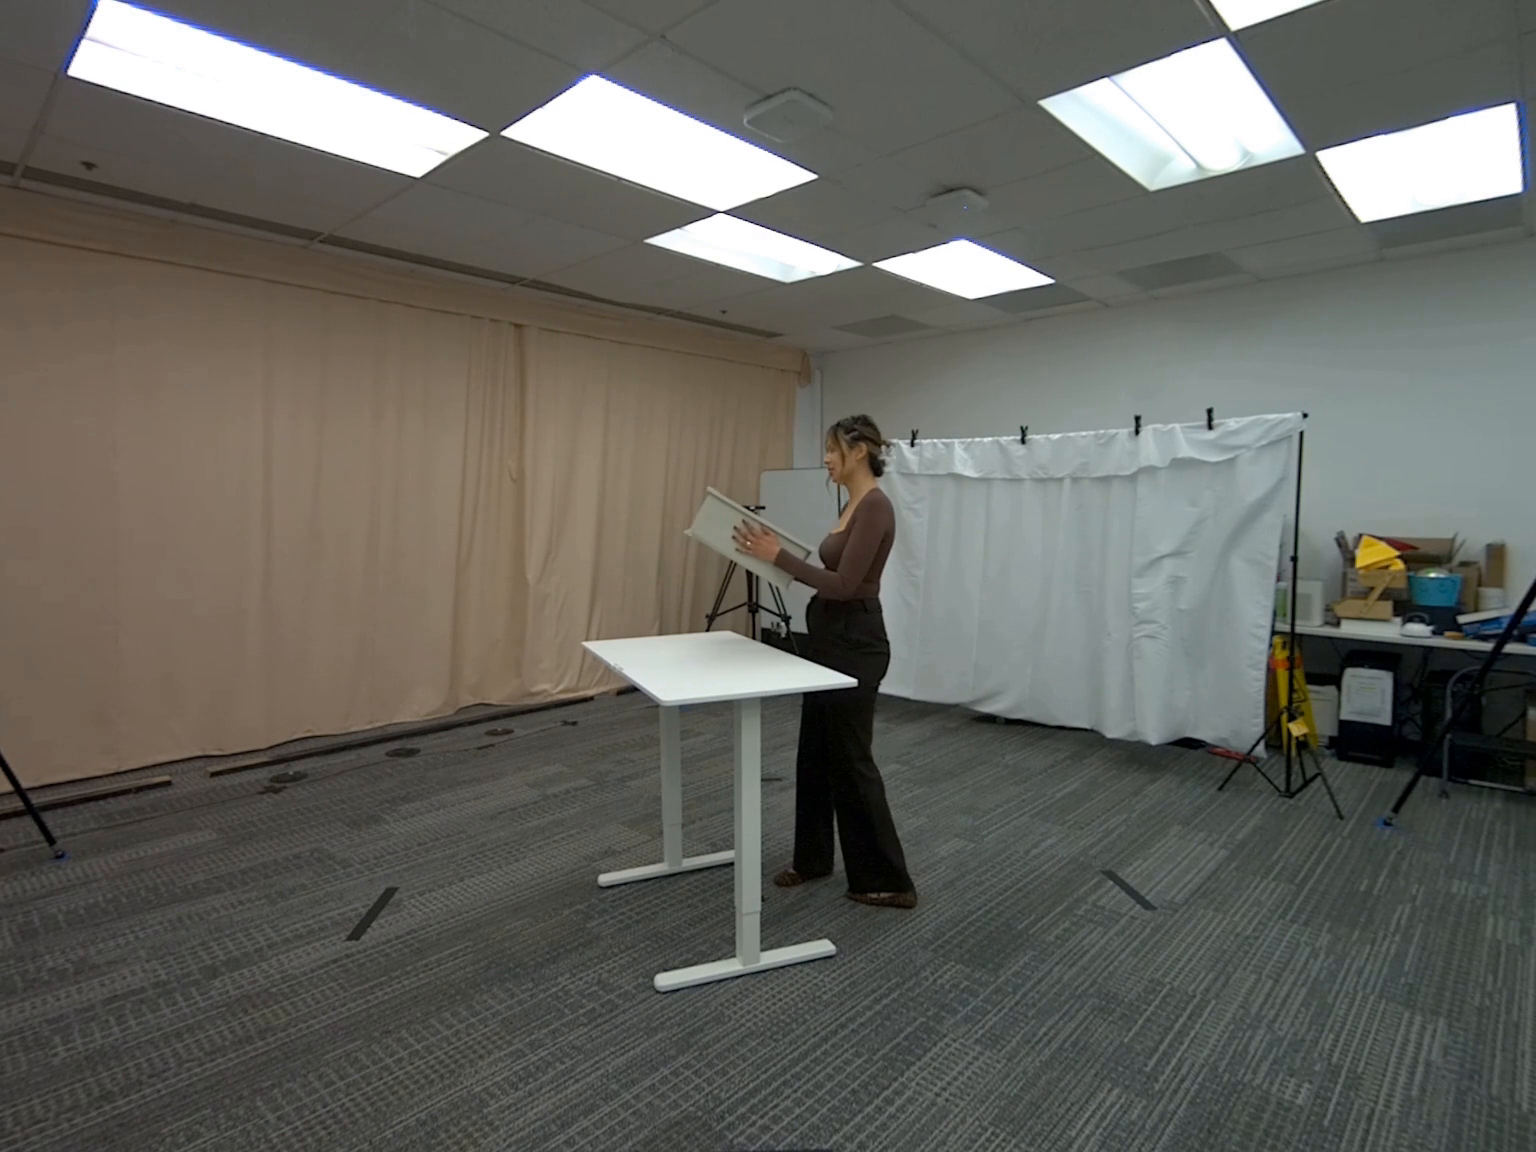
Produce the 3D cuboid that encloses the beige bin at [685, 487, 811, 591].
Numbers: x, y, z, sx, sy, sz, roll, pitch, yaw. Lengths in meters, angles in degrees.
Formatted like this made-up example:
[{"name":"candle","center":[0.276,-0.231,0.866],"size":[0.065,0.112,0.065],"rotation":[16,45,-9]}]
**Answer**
[{"name":"beige bin","center":[-0.054,-0.136,3.043],"size":[0.423,0.189,0.377],"rotation":[31,7,0]}]
